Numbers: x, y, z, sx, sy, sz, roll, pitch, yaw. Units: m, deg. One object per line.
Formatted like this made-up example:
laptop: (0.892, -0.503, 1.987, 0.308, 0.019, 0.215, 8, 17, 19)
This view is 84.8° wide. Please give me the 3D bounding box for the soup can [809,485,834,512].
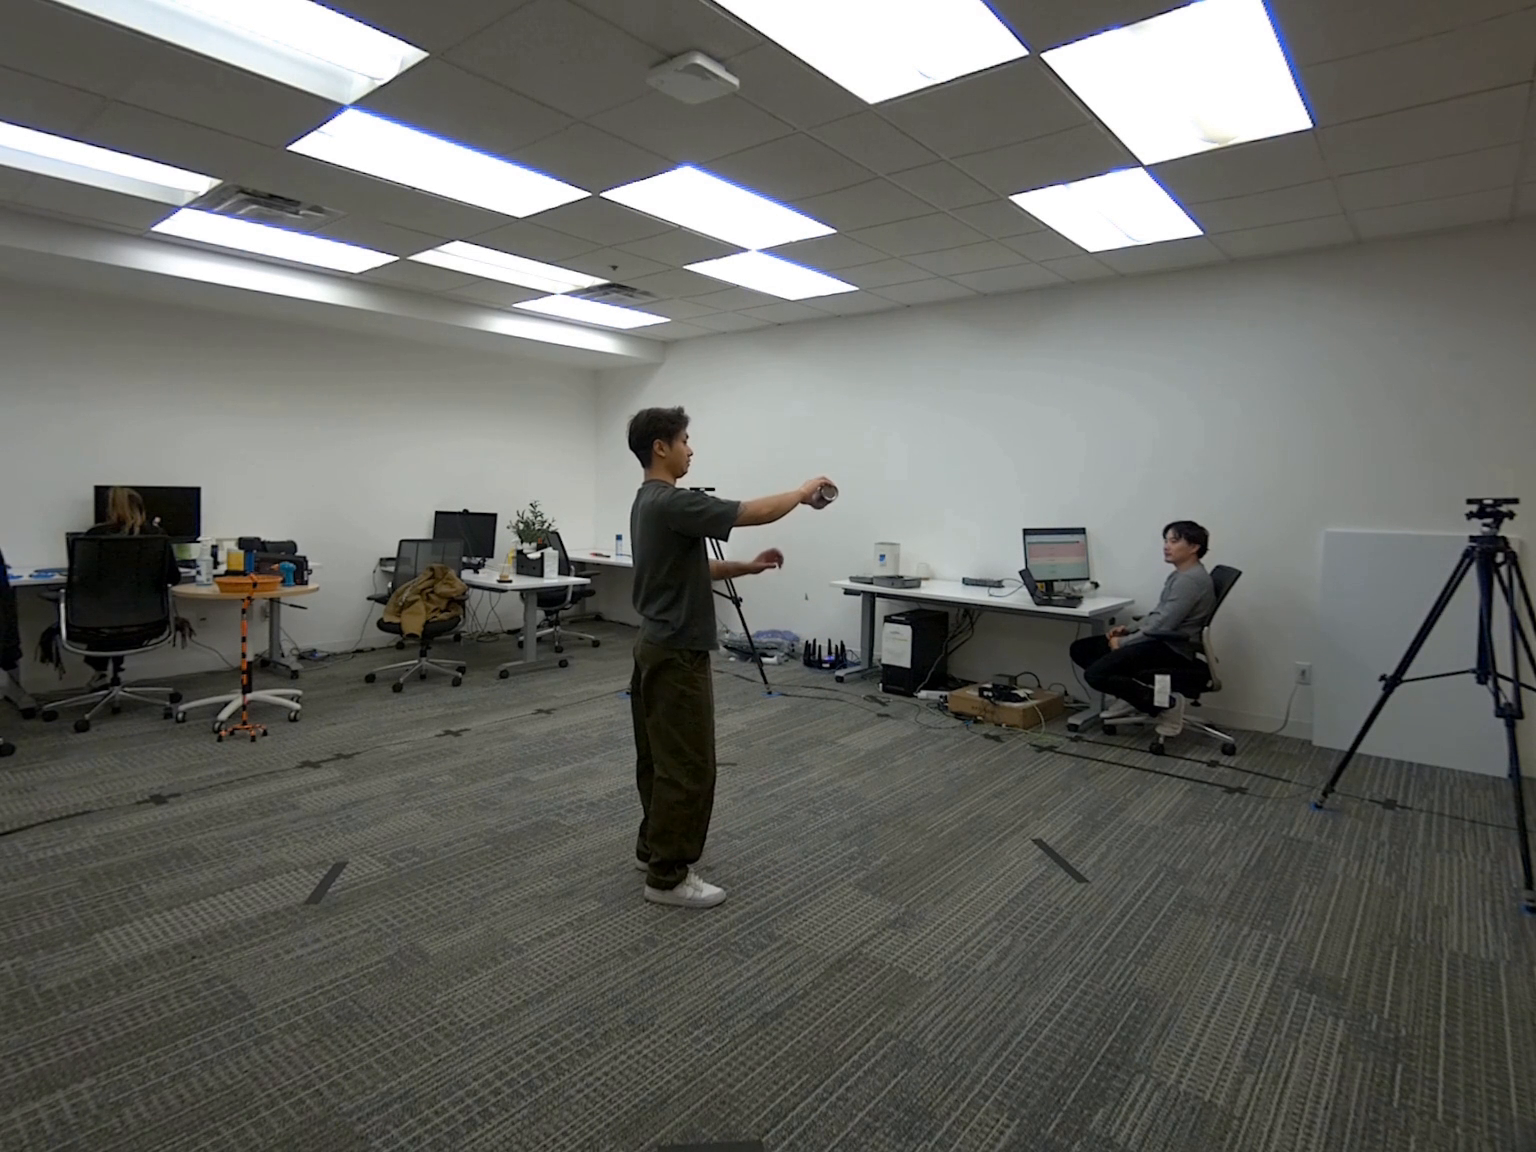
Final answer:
soup can: (0.188, -0.278, 3.001, 0.067, 0.068, 0.121, 1, -7, -4)
